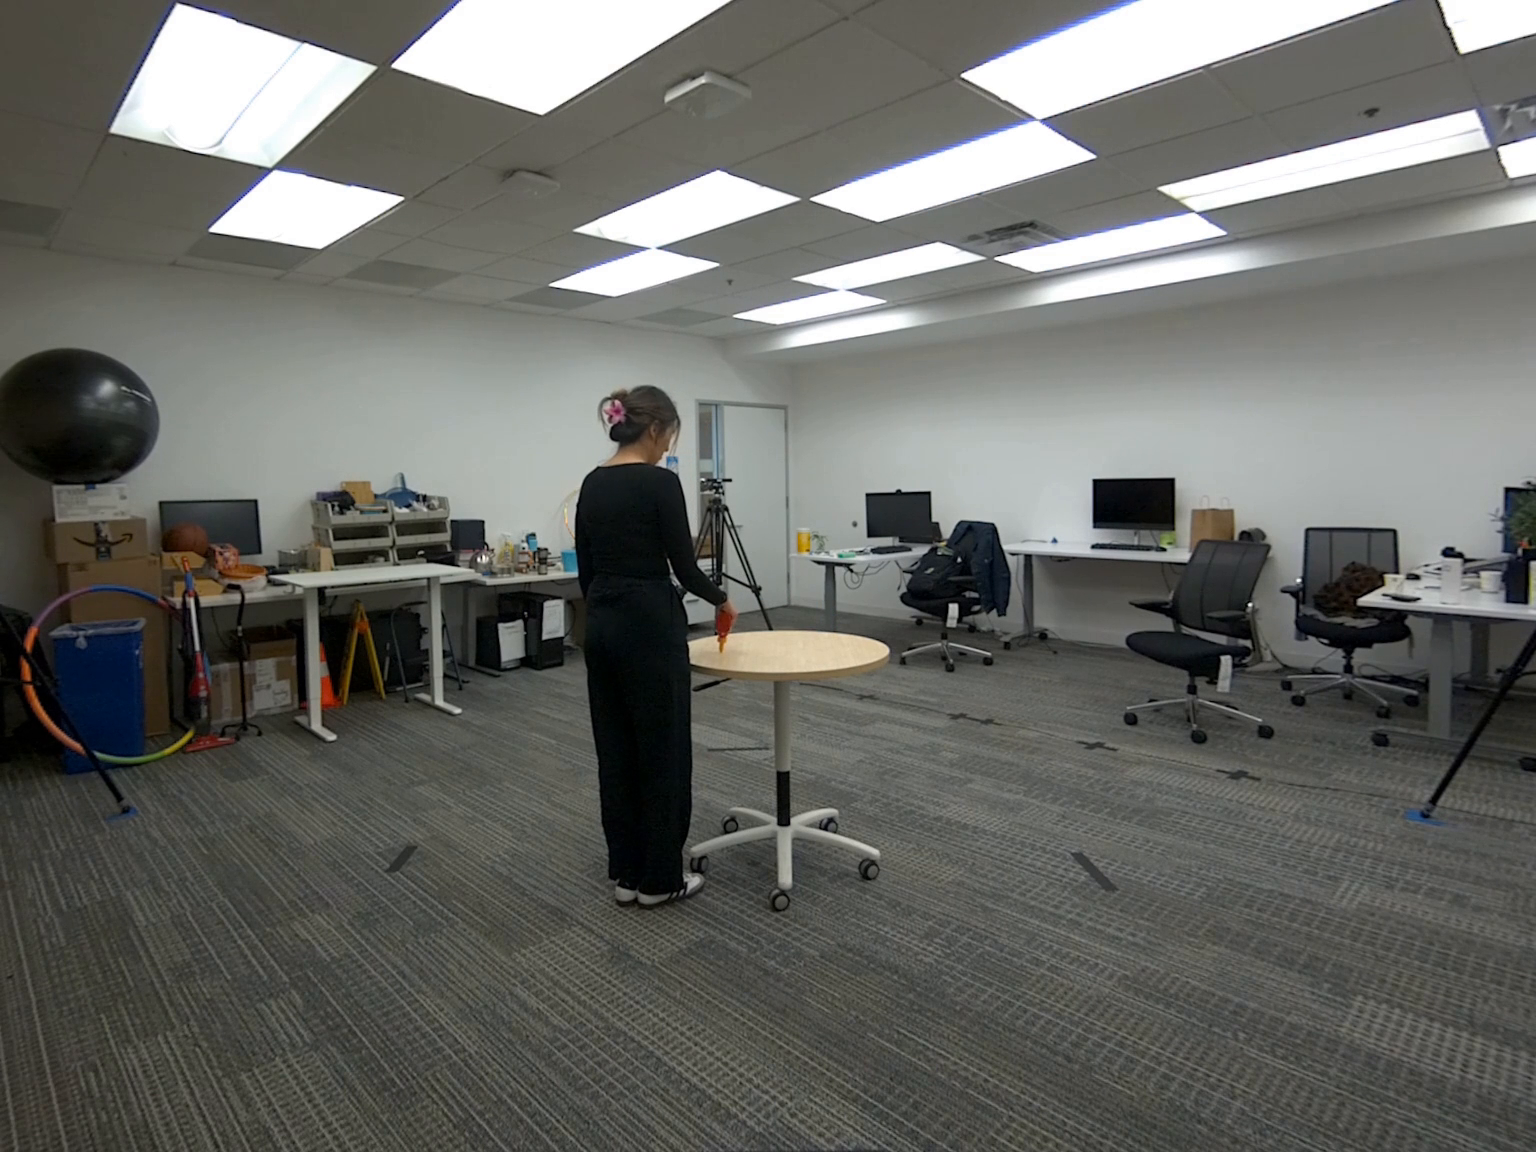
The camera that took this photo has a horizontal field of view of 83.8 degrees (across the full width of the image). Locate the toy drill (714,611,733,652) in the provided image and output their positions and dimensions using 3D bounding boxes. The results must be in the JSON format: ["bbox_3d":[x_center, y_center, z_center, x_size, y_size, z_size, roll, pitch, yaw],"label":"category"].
[{"bbox_3d":[-0.157,0.193,2.991,0.061,0.169,0.146,8,4,0],"label":"toy drill"}]
